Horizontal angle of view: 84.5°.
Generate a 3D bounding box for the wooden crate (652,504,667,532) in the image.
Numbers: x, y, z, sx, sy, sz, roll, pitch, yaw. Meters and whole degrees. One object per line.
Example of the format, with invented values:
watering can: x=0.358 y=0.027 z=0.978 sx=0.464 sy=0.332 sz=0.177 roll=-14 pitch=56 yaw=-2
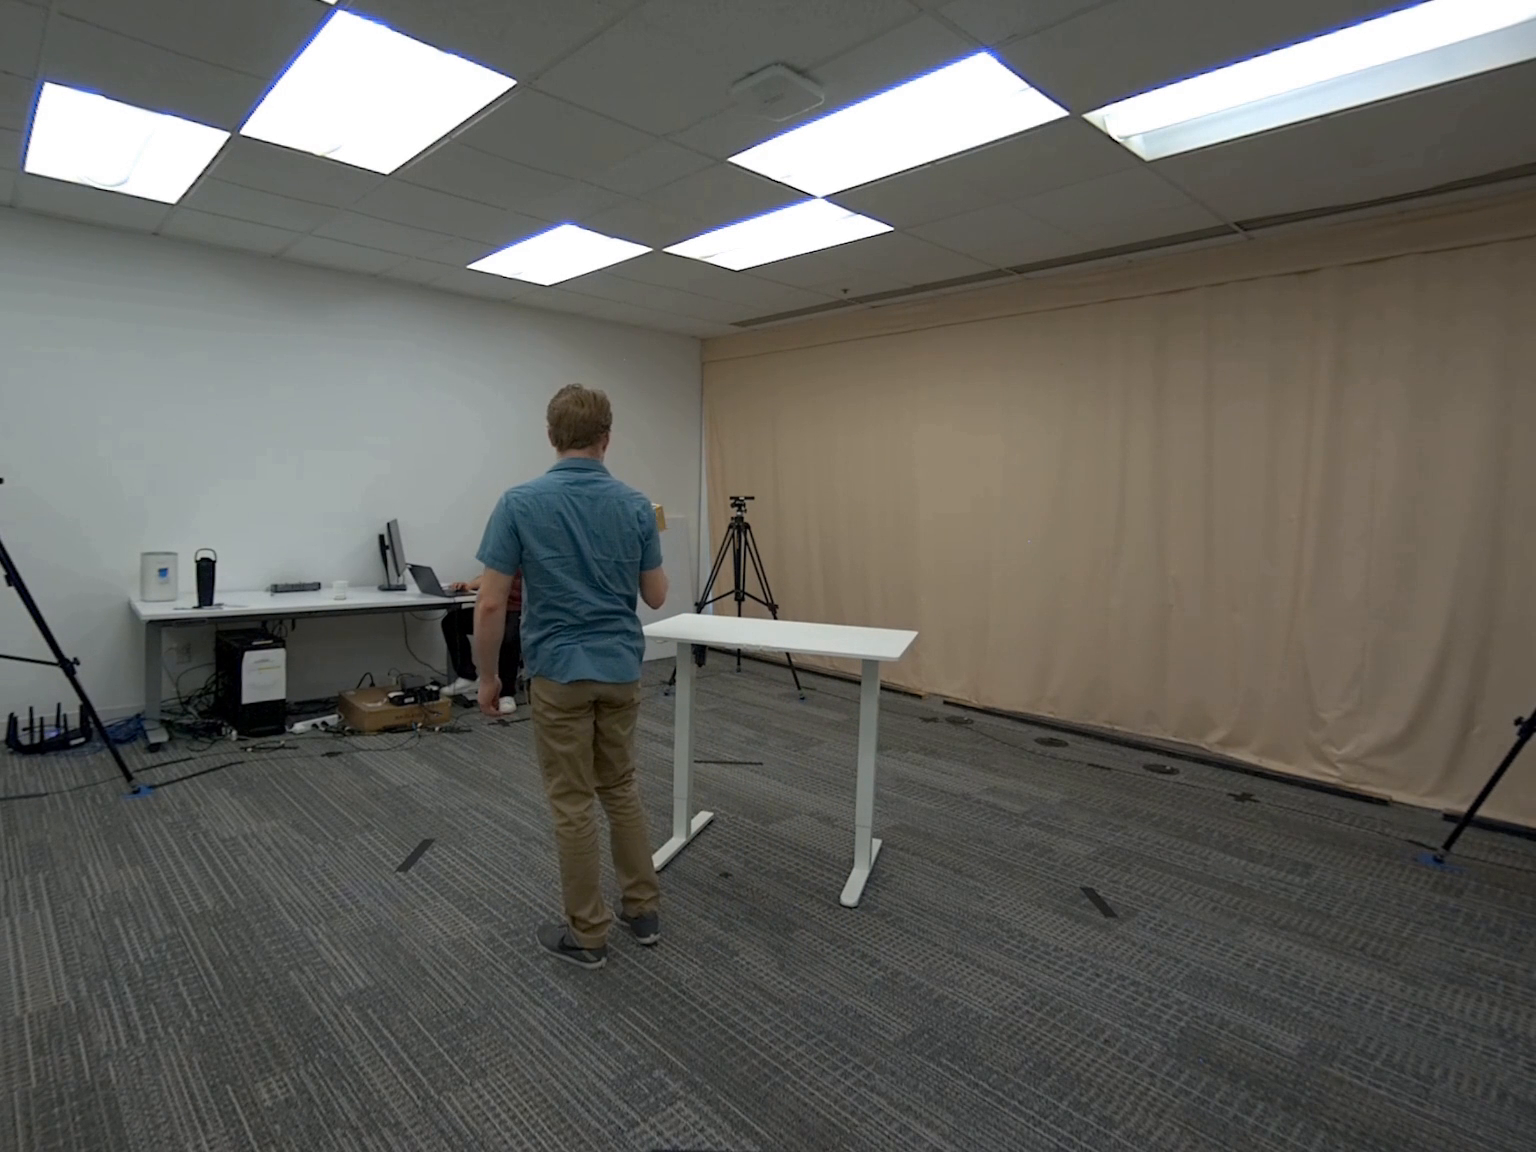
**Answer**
wooden crate: x=-0.566 y=-0.096 z=2.978 sx=0.333 sy=0.269 sz=0.299 roll=12 pitch=29 yaw=41
